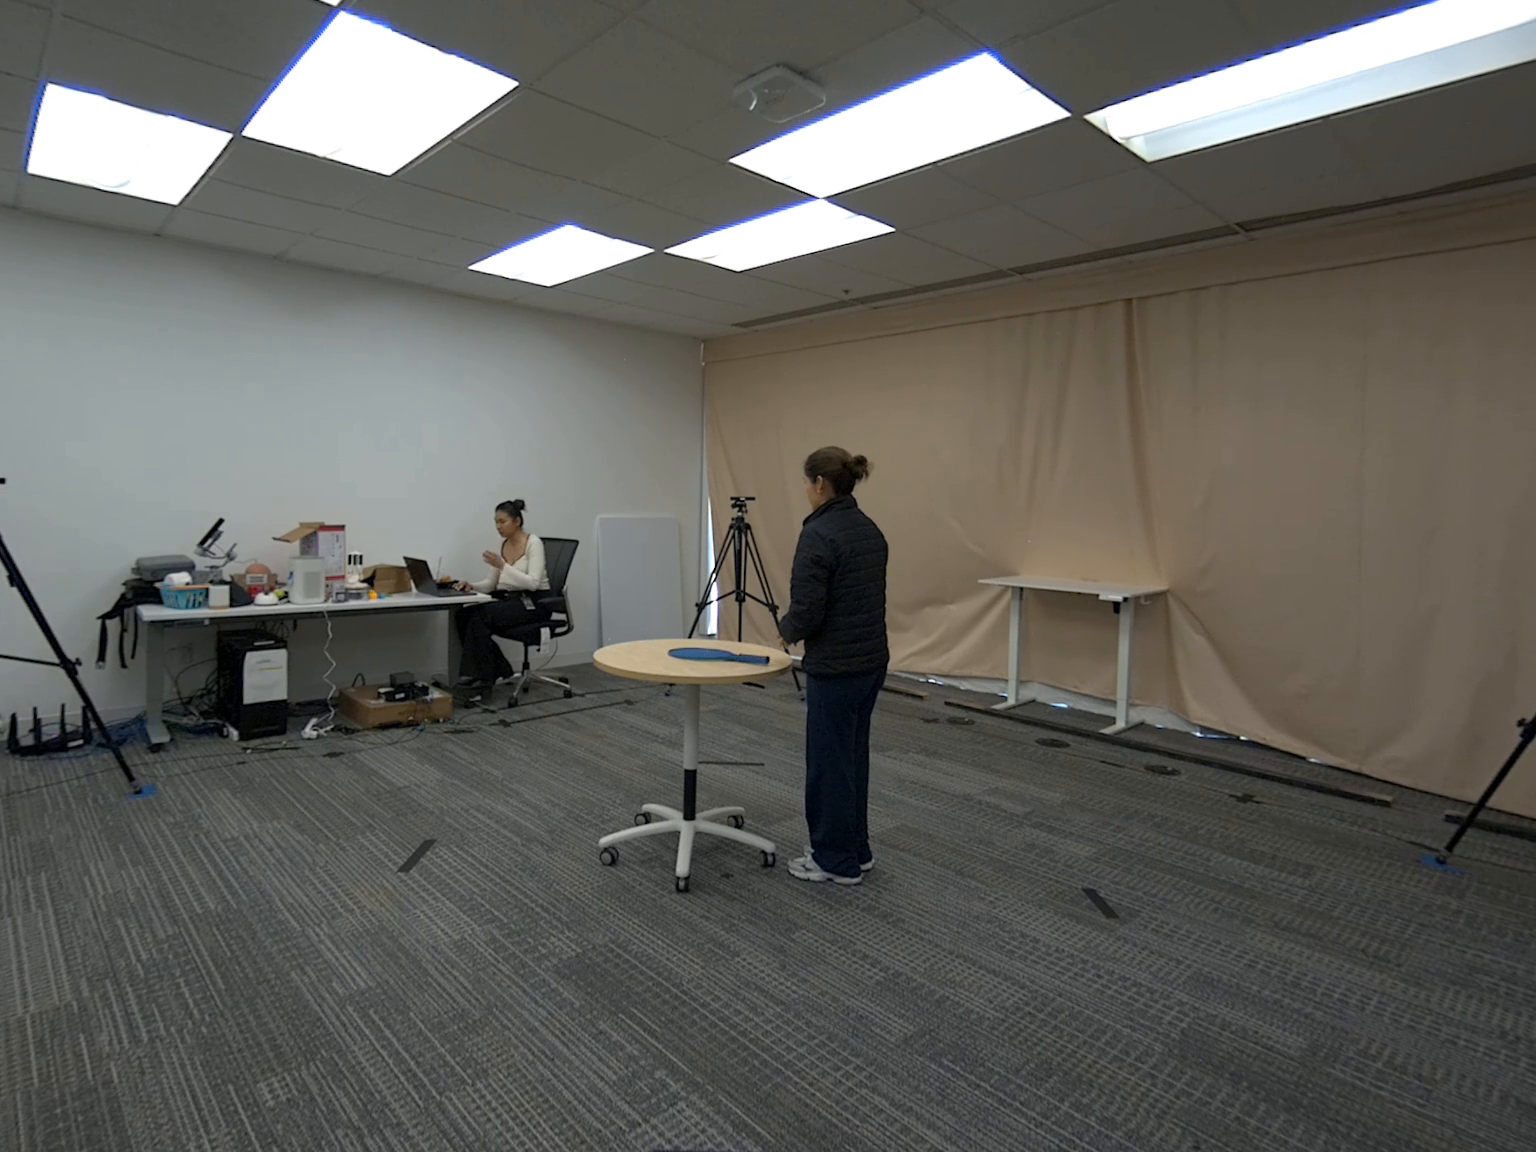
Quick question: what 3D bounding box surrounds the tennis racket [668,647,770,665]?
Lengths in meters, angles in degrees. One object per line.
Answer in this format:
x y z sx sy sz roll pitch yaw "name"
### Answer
-0.189 0.306 3.203 0.443 0.031 0.209 3 7 33 "tennis racket"
